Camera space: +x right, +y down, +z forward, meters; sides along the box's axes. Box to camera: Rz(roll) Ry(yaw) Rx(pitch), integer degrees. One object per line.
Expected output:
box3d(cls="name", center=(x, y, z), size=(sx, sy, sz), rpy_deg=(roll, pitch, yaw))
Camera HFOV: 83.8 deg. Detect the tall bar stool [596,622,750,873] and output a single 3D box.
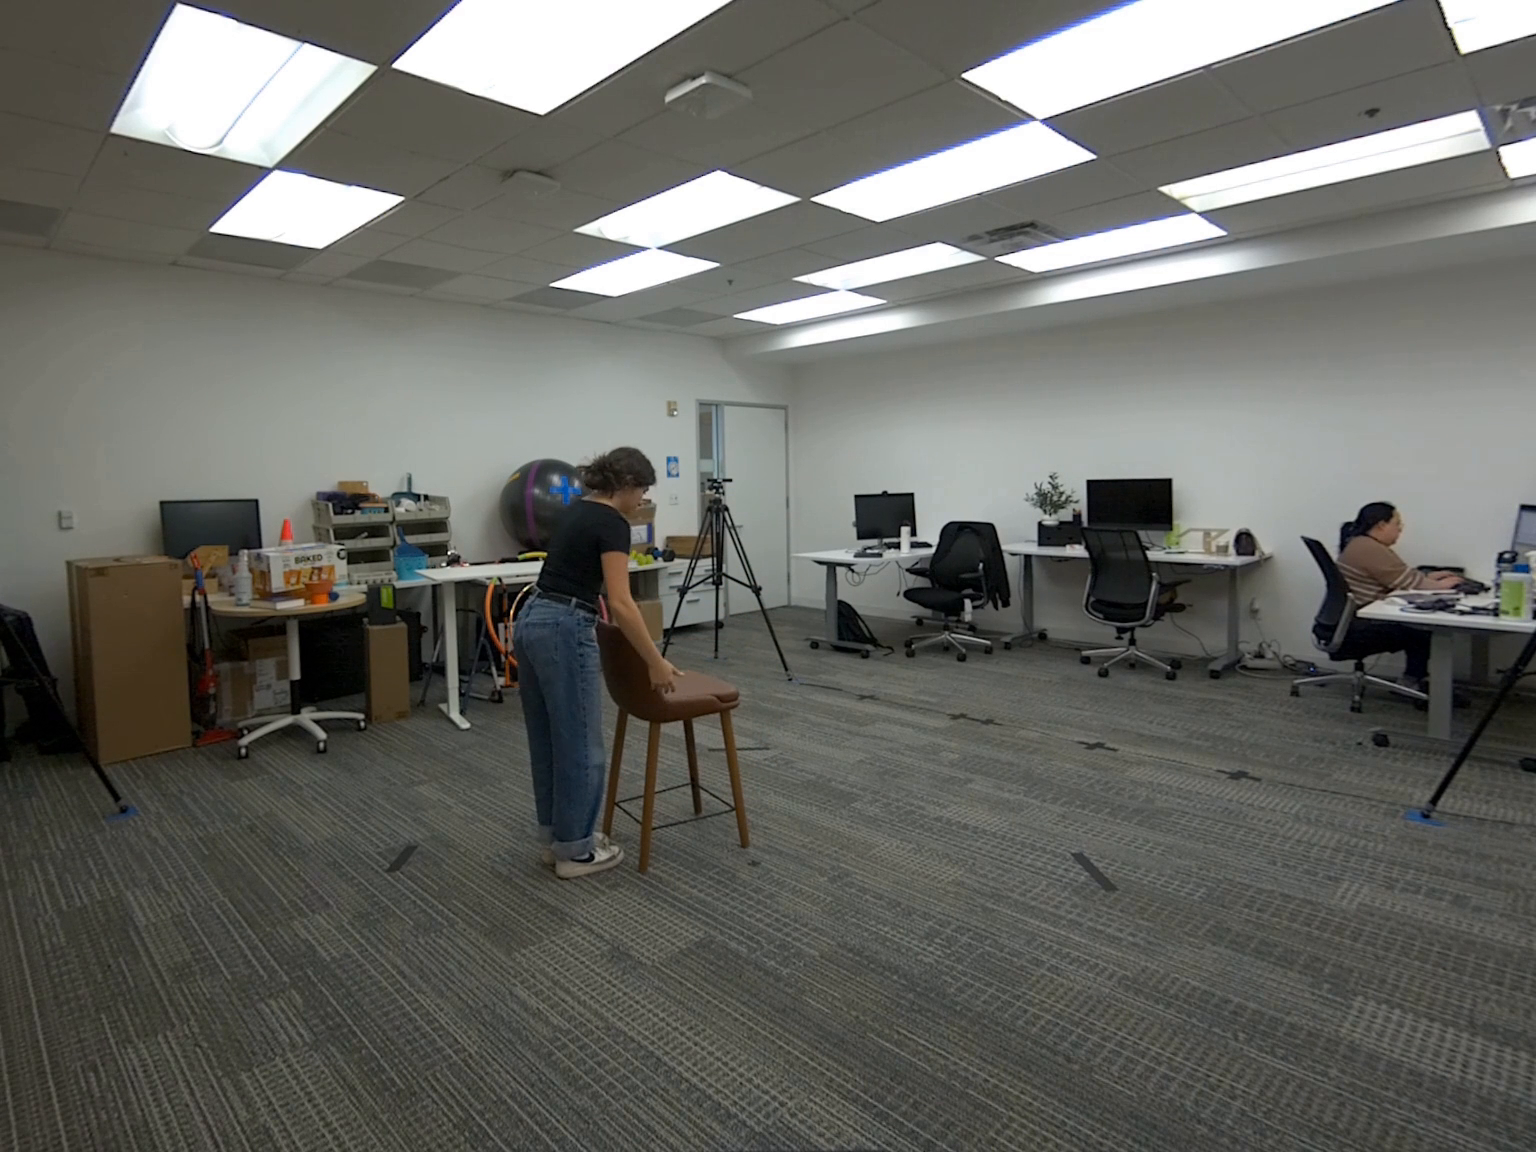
box3d(cls="tall bar stool", center=(-0.379, 0.594, 3.285), size=(0.457, 0.886, 0.469), rpy_deg=(-6, 5, -32))
